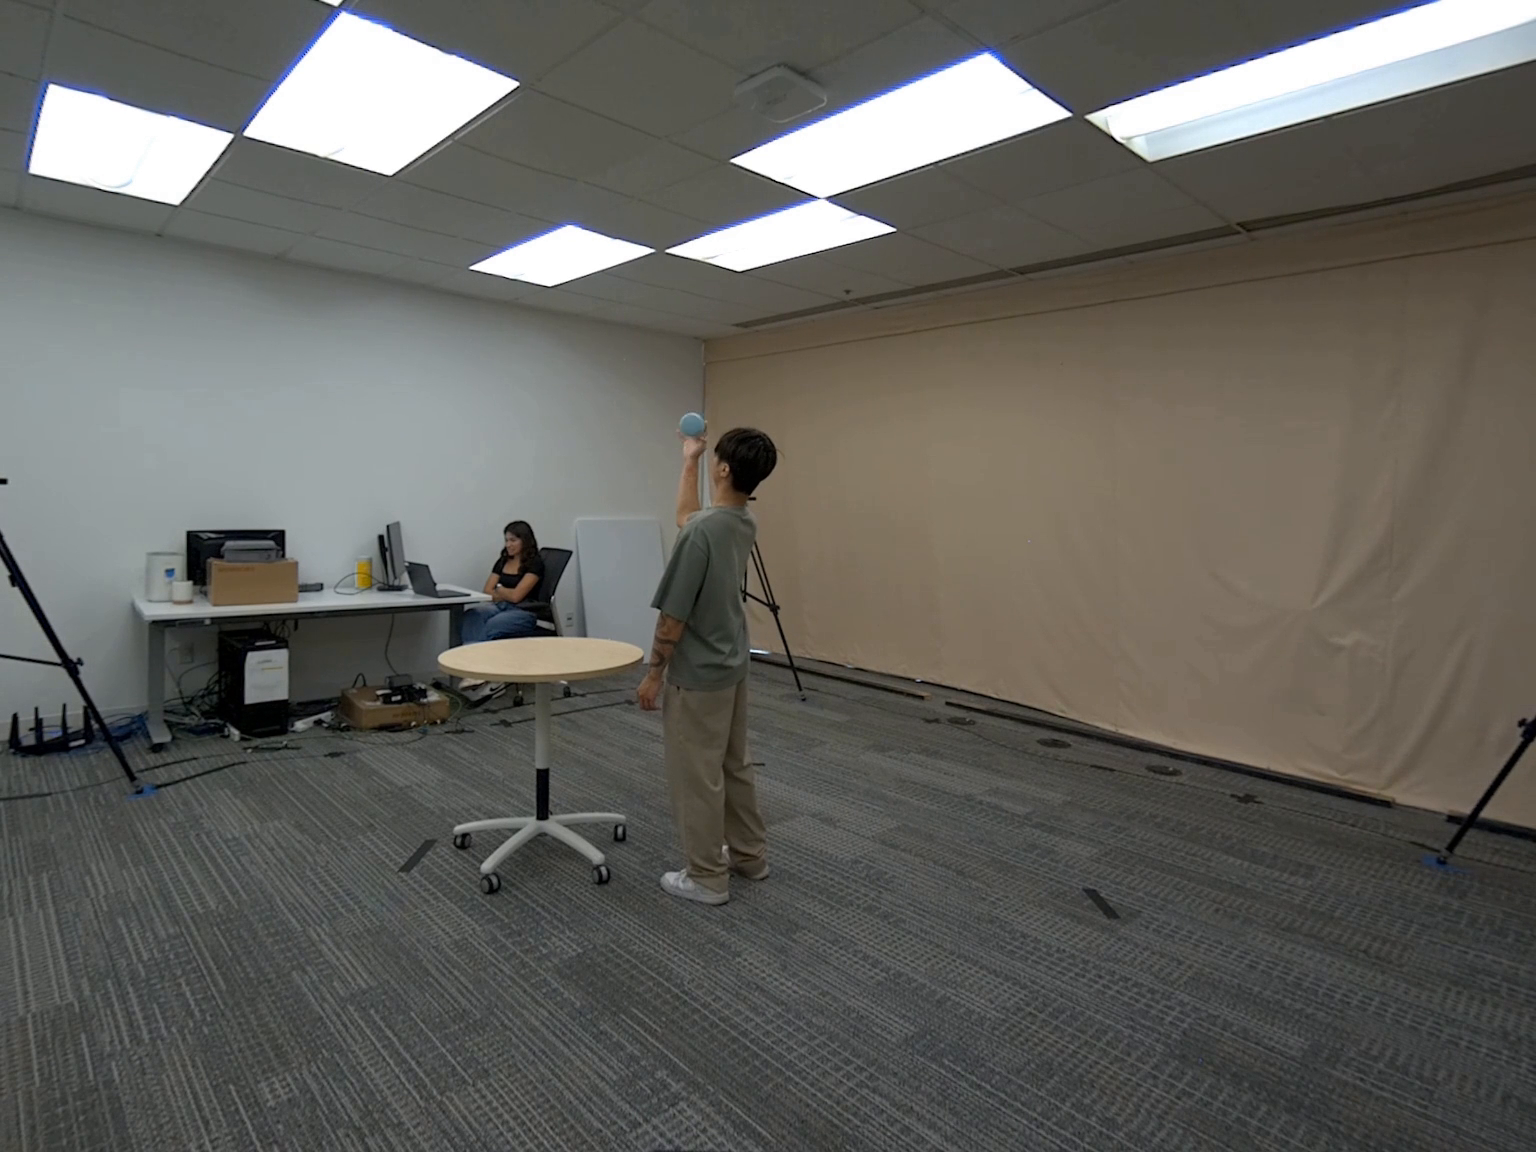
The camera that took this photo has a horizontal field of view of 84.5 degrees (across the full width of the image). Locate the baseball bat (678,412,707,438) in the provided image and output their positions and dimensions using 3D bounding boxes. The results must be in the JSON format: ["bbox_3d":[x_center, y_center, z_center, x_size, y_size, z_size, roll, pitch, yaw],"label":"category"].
[{"bbox_3d":[-0.300,-0.588,3.316,0.089,0.088,0.546,1,10,-1],"label":"baseball bat"}]
